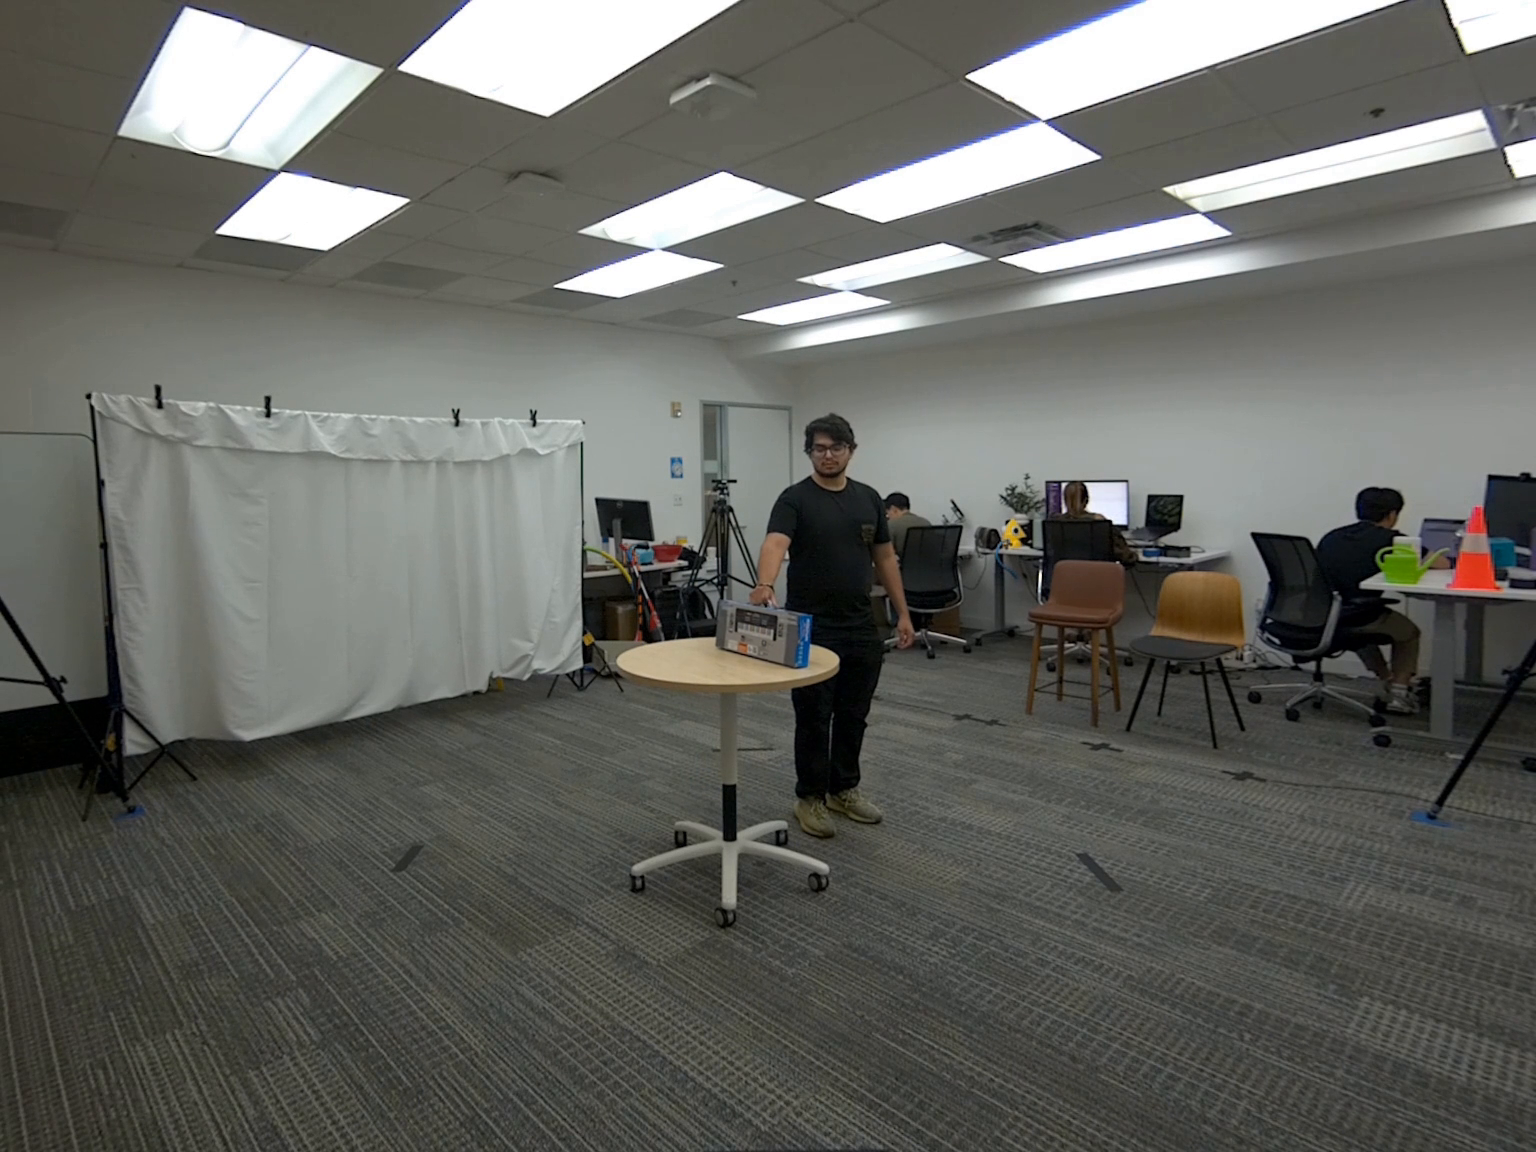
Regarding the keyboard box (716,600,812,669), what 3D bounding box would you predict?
[{"bbox_3d":[-0.018,0.195,2.948,0.057,0.176,0.450,4,2,-38],"label":"keyboard box"}]
